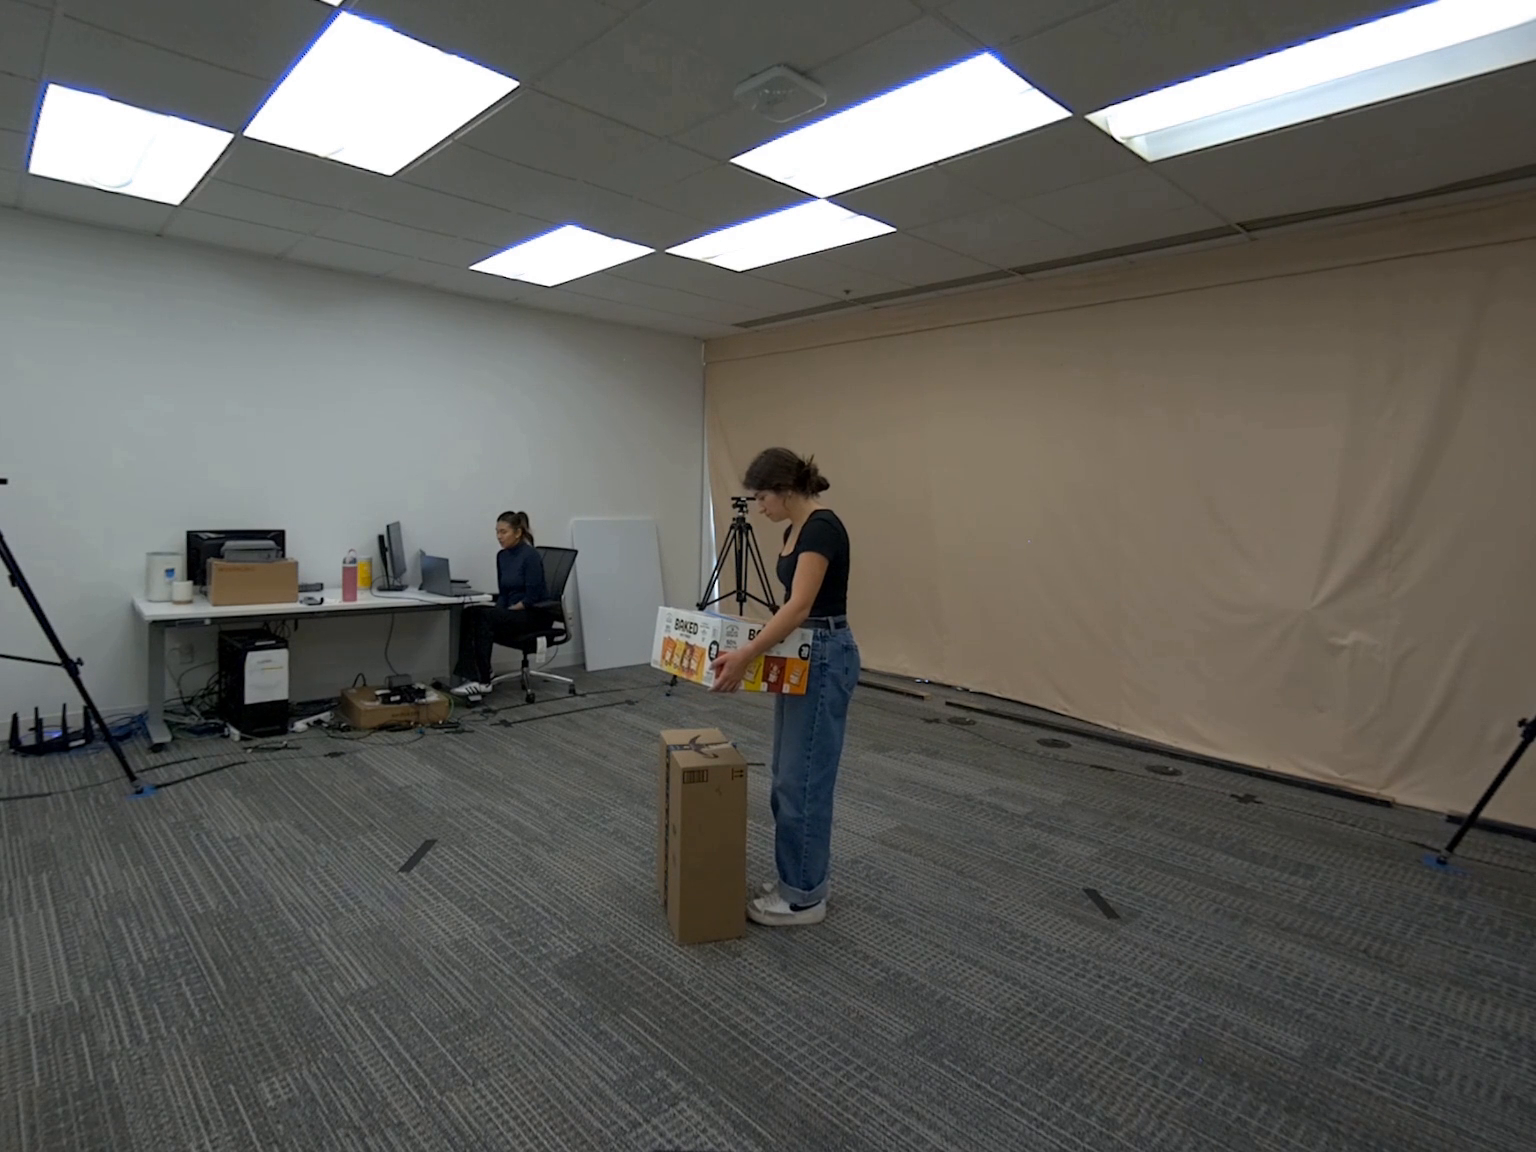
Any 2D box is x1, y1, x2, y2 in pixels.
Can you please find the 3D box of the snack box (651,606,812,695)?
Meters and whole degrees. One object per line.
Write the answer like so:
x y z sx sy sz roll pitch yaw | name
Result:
-0.129 0.239 2.708 0.332 0.206 0.414 9 -2 -33 | snack box
